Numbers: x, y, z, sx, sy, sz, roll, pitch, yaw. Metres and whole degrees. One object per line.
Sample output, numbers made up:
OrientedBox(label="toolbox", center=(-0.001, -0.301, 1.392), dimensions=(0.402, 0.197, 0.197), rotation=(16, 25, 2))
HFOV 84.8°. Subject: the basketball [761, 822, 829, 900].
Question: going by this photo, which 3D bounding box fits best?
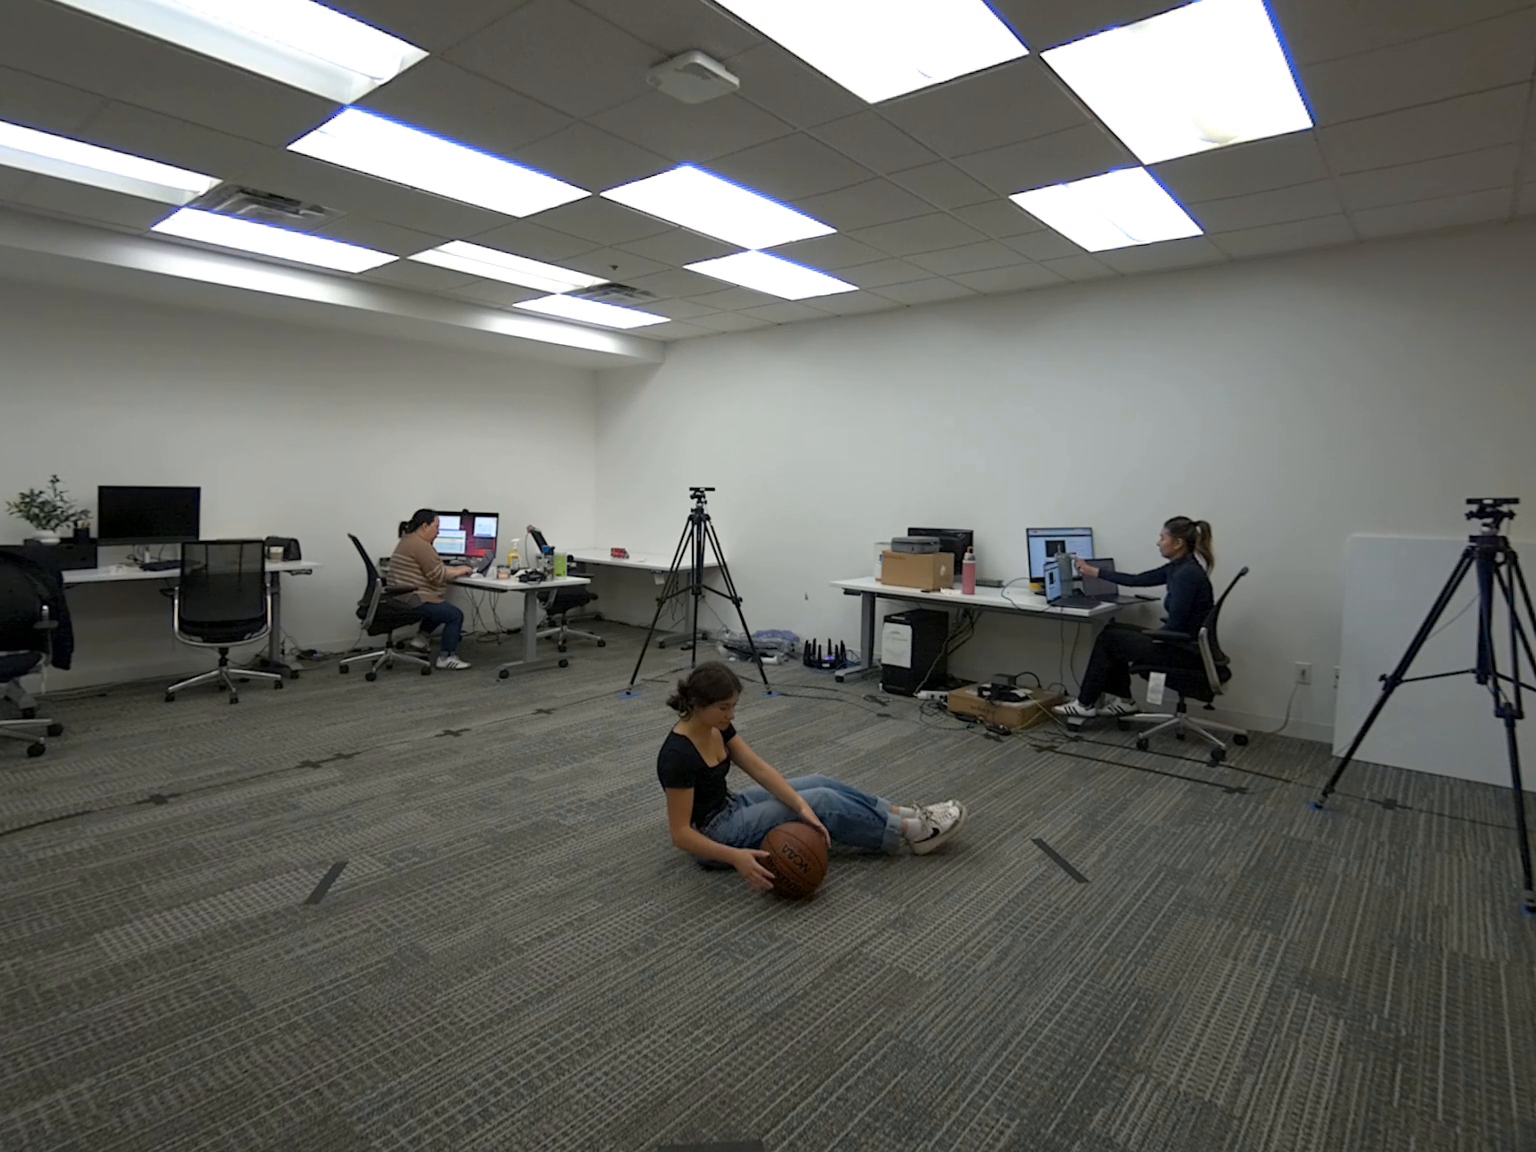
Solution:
OrientedBox(label="basketball", center=(0.085, 0.966, 2.929), dimensions=(0.235, 0.235, 0.237), rotation=(1, 4, -2))
